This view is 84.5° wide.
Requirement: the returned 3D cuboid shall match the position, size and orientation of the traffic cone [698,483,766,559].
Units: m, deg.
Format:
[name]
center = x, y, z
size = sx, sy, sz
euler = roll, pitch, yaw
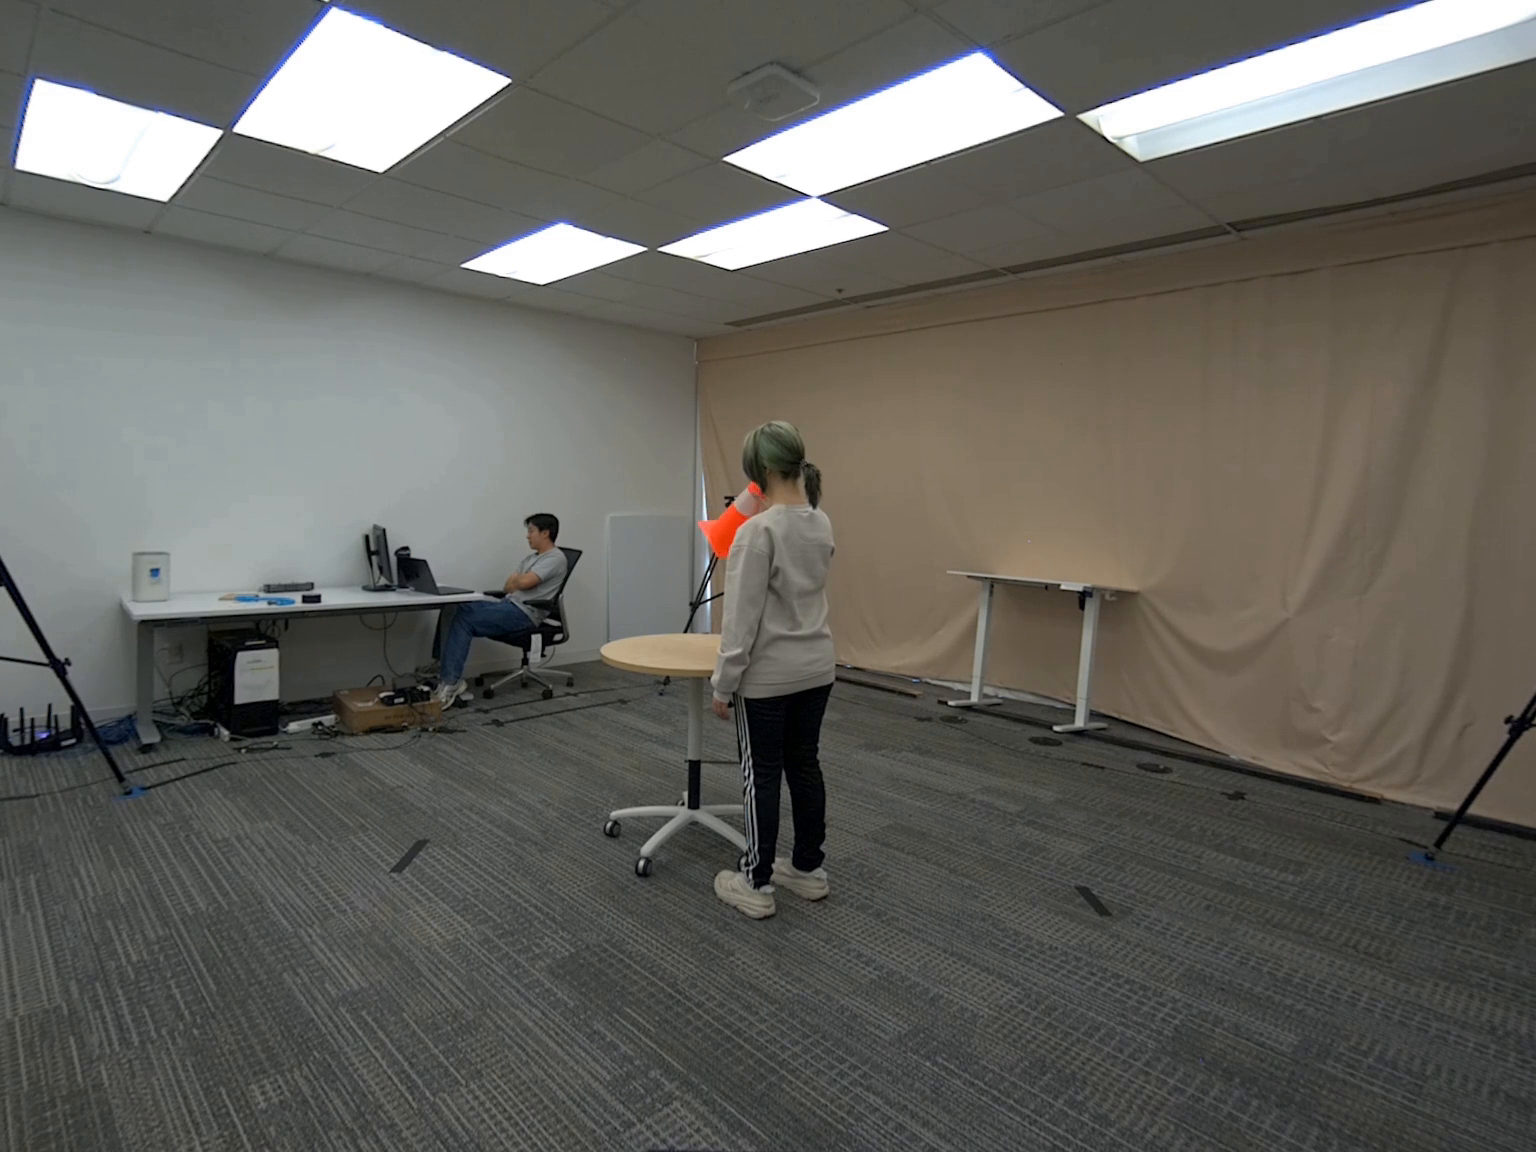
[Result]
[traffic cone]
center = -0.079, -0.269, 3.225
size = 0.201, 0.381, 0.209
euler = -7, 52, -42
